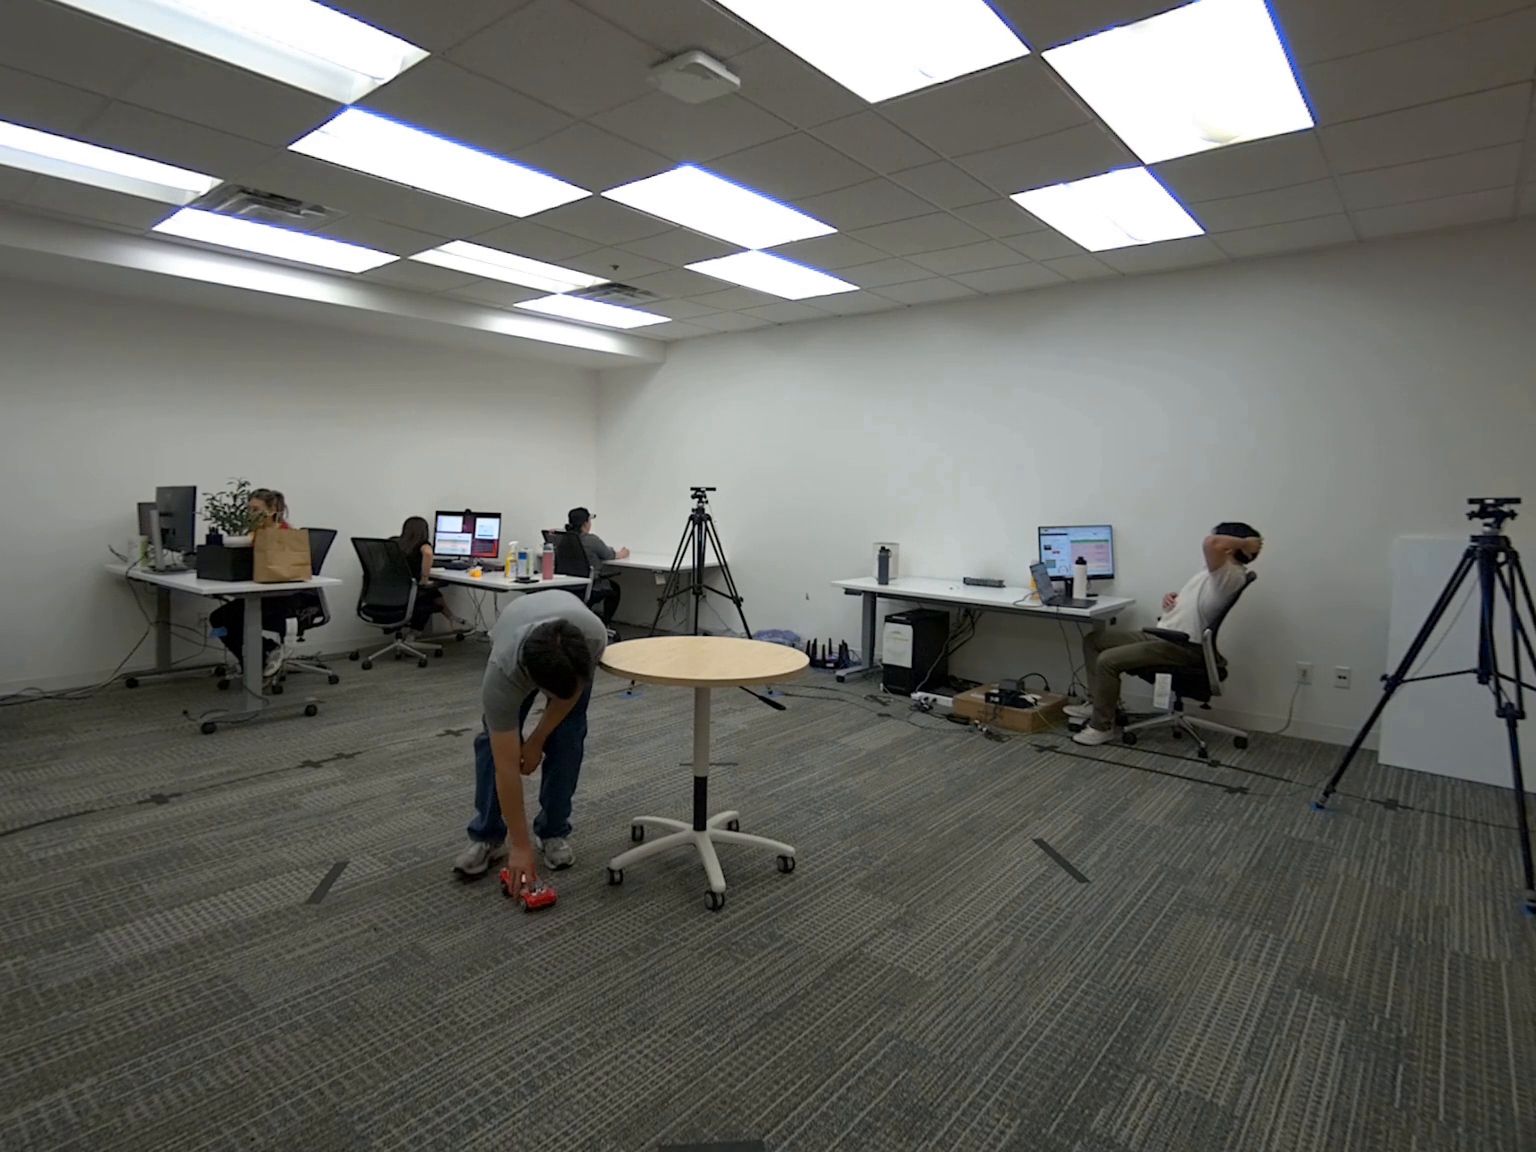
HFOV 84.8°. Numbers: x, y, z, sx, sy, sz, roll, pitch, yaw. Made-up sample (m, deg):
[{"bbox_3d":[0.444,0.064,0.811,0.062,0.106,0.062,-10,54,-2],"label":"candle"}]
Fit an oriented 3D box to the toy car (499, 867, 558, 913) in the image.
[{"bbox_3d":[-0.842,1.048,2.875,0.126,0.082,0.265,1,15,-40],"label":"toy car"}]
